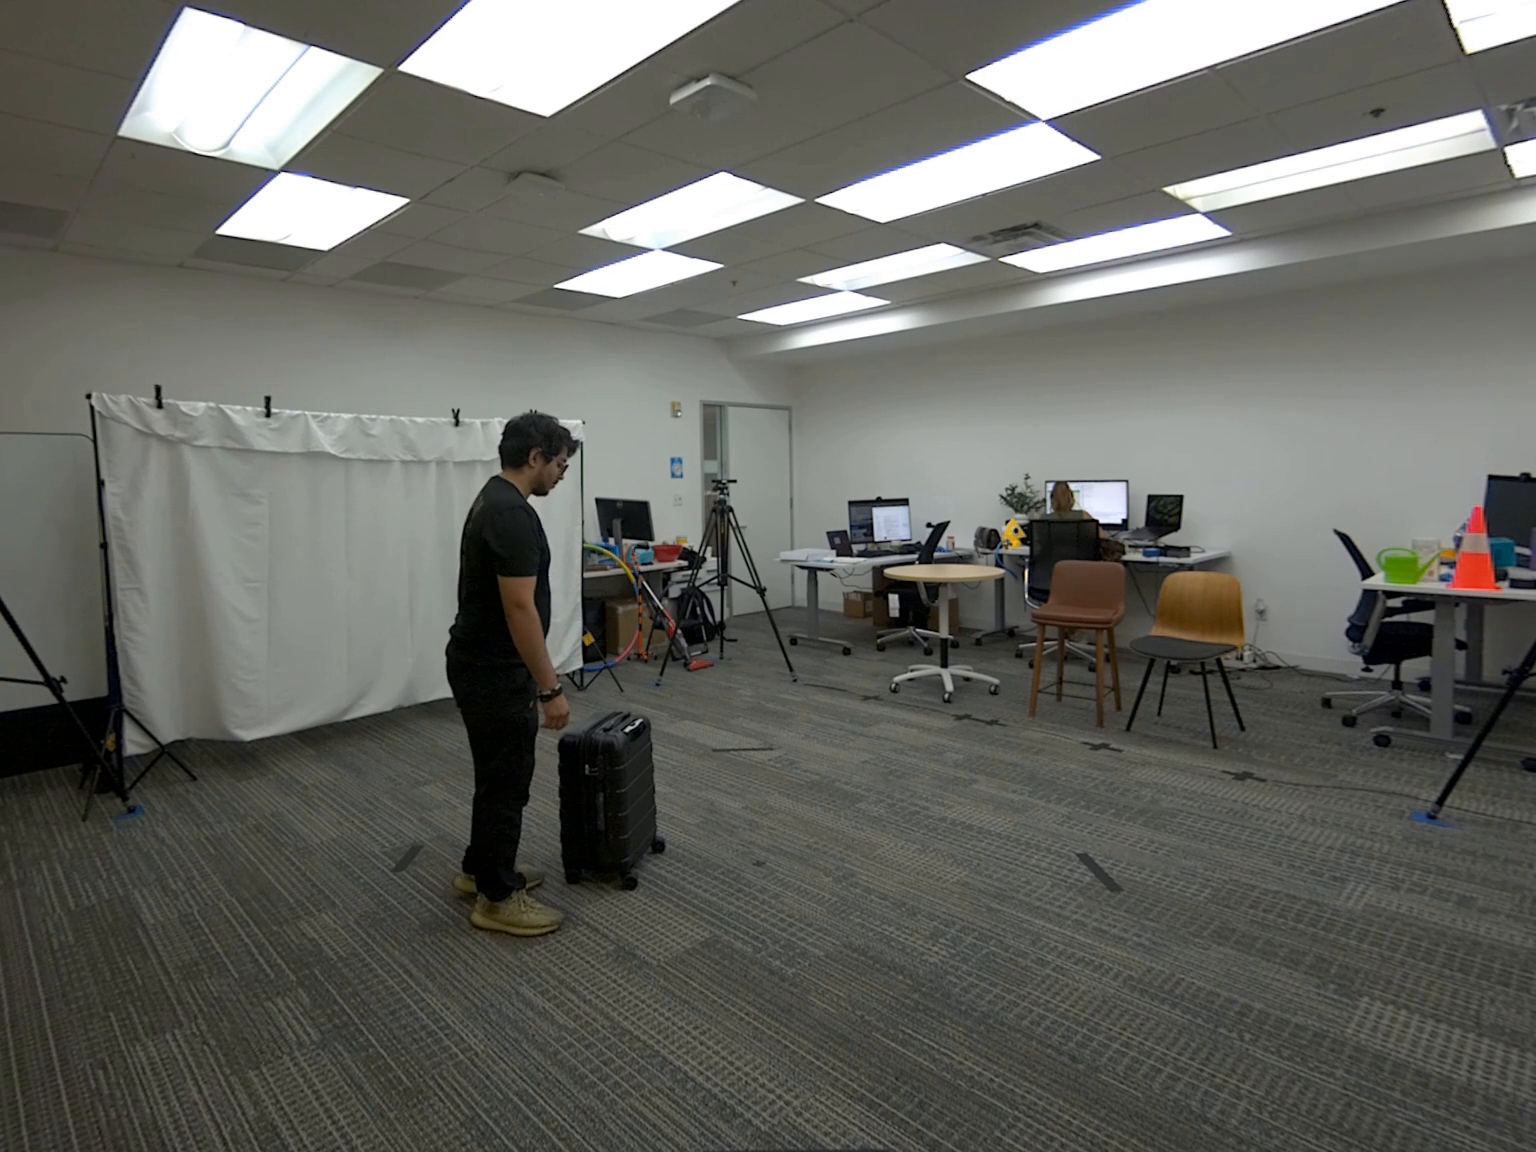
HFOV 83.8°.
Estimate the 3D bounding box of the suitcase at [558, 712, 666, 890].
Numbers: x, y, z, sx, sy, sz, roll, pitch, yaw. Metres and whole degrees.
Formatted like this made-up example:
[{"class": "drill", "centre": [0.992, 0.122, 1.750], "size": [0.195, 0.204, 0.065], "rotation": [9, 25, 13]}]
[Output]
[{"class": "suitcase", "centre": [-0.572, 0.782, 3.090], "size": [0.252, 0.547, 0.371], "rotation": [-1, 5, 14]}]
